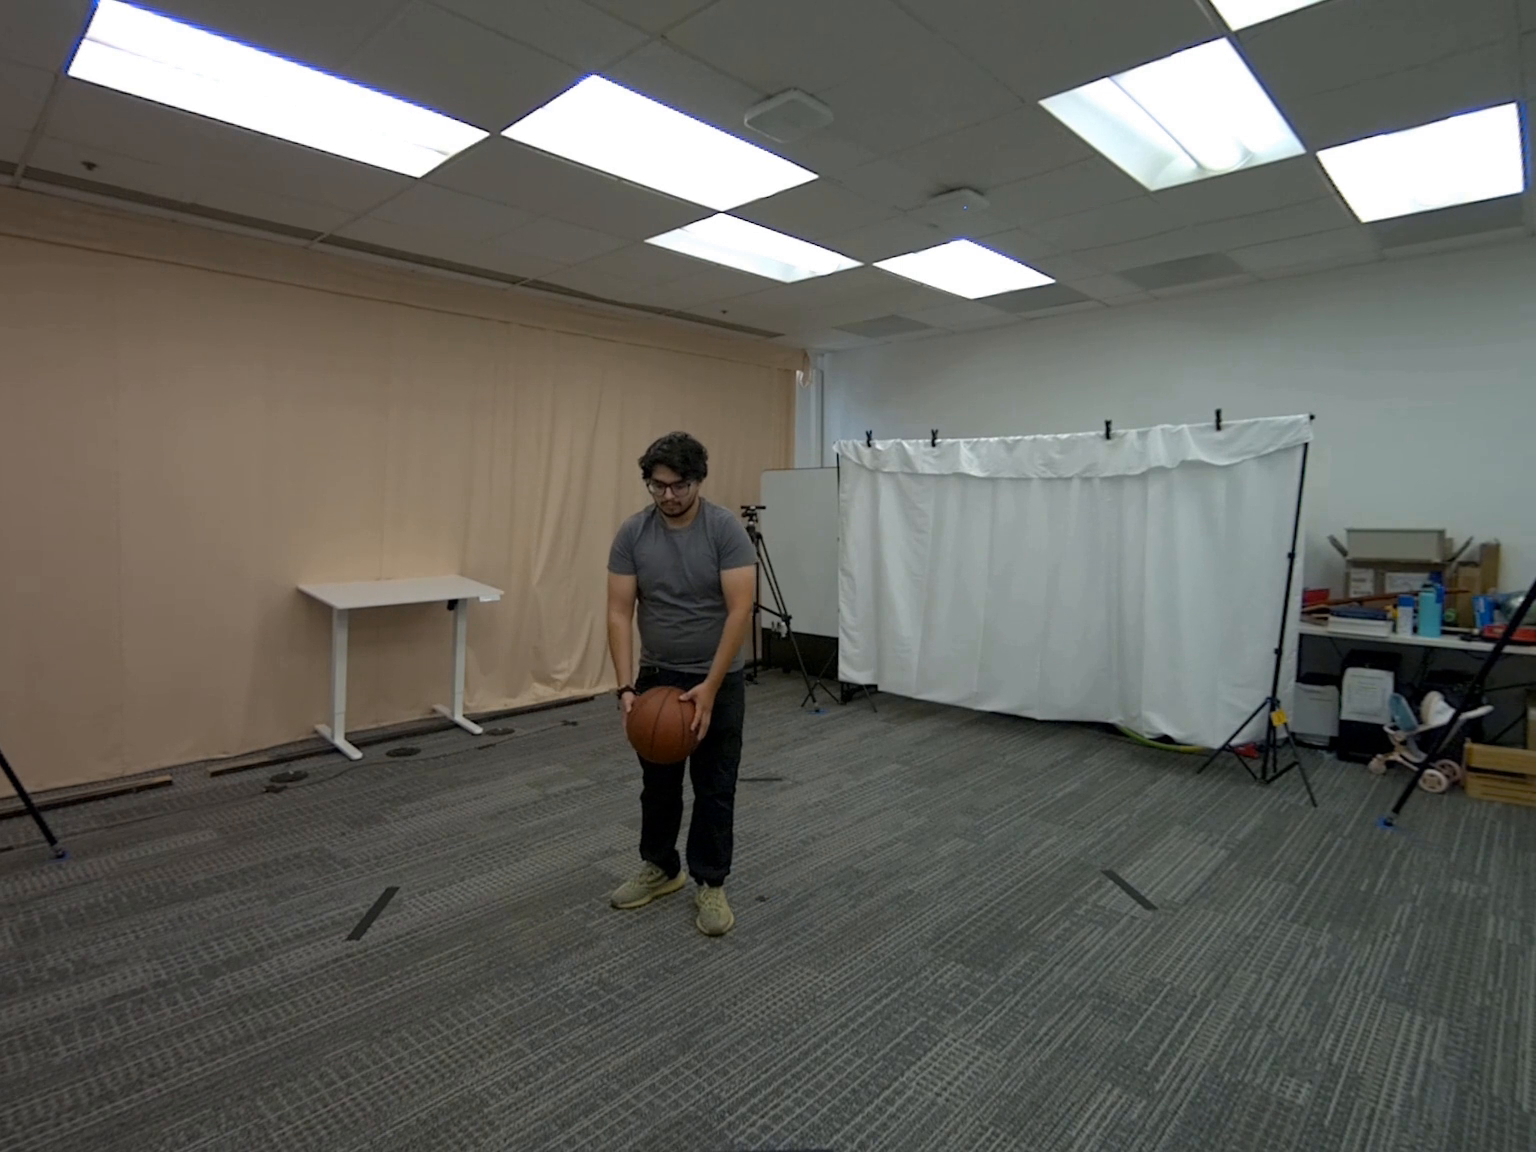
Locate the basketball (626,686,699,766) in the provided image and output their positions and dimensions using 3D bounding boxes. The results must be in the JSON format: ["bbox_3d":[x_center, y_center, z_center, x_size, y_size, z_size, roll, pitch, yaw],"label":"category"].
[{"bbox_3d":[-0.318,0.456,2.620,0.236,0.235,0.237,0,4,-2],"label":"basketball"}]
